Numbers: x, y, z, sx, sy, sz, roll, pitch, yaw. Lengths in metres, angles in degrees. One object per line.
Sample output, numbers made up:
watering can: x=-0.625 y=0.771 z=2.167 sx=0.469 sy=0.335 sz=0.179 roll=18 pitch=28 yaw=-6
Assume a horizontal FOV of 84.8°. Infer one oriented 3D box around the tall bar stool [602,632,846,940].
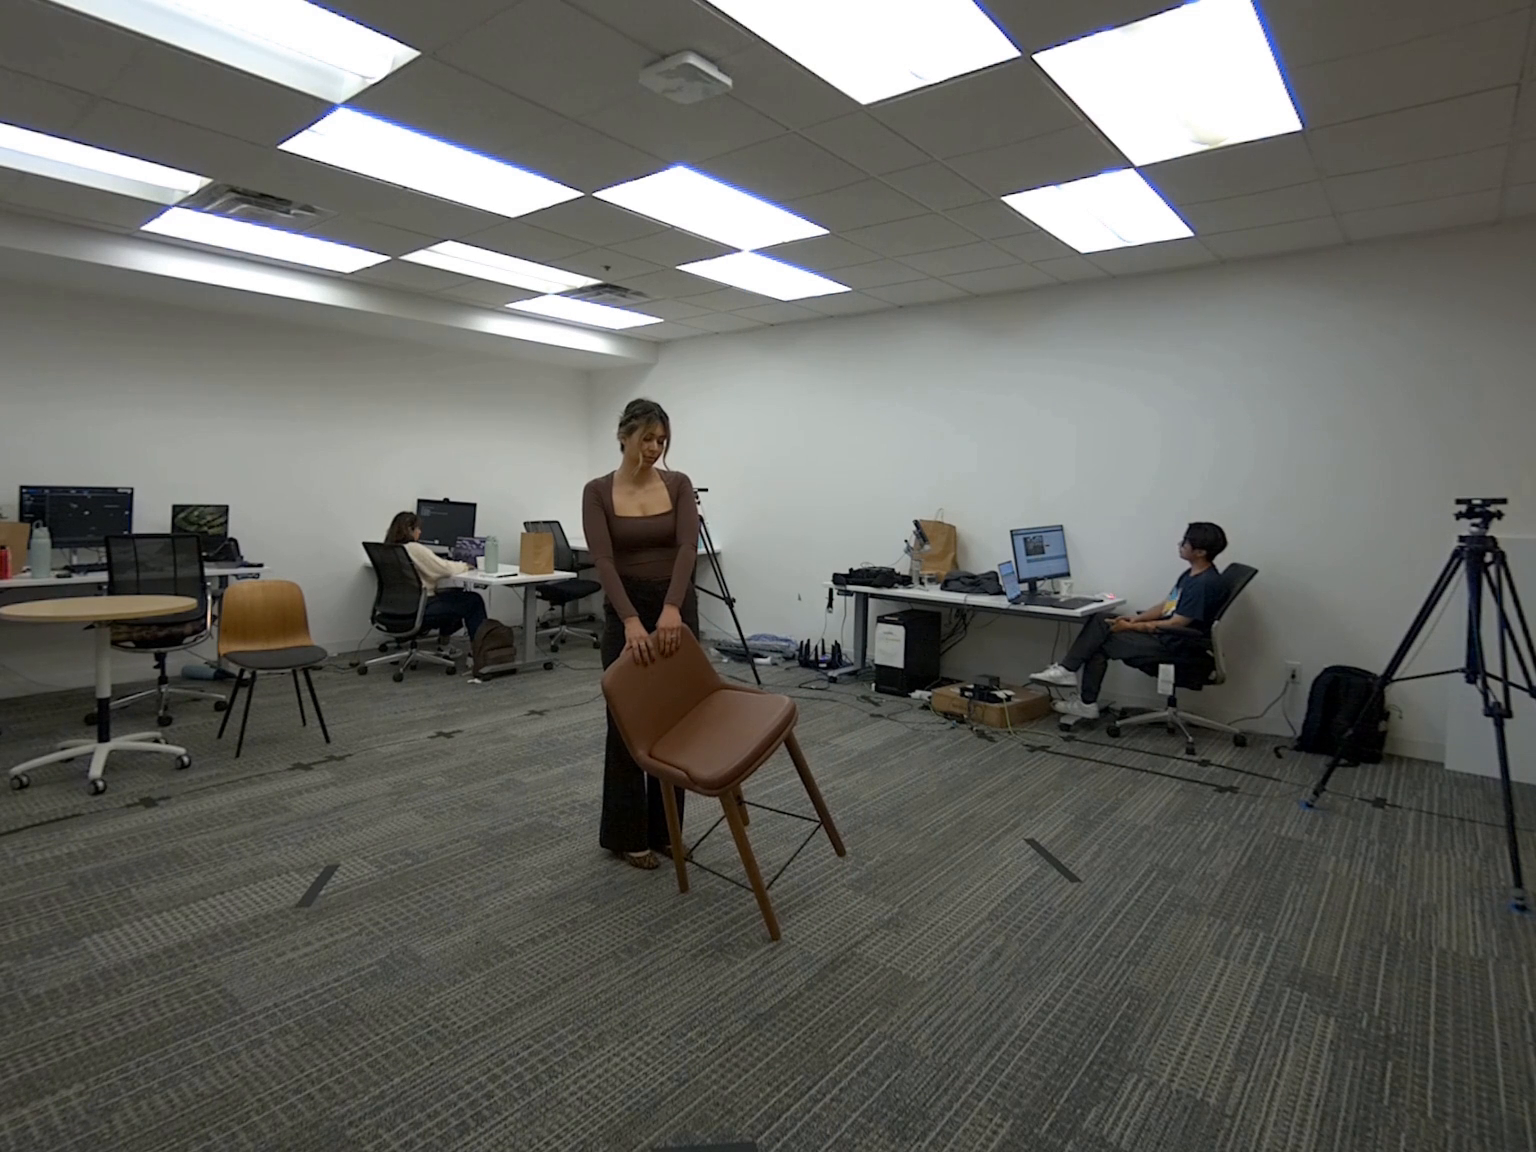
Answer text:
tall bar stool: x=-0.149 y=0.629 z=2.765 sx=0.483 sy=0.870 sz=0.452 roll=0 pitch=26 yaw=42
